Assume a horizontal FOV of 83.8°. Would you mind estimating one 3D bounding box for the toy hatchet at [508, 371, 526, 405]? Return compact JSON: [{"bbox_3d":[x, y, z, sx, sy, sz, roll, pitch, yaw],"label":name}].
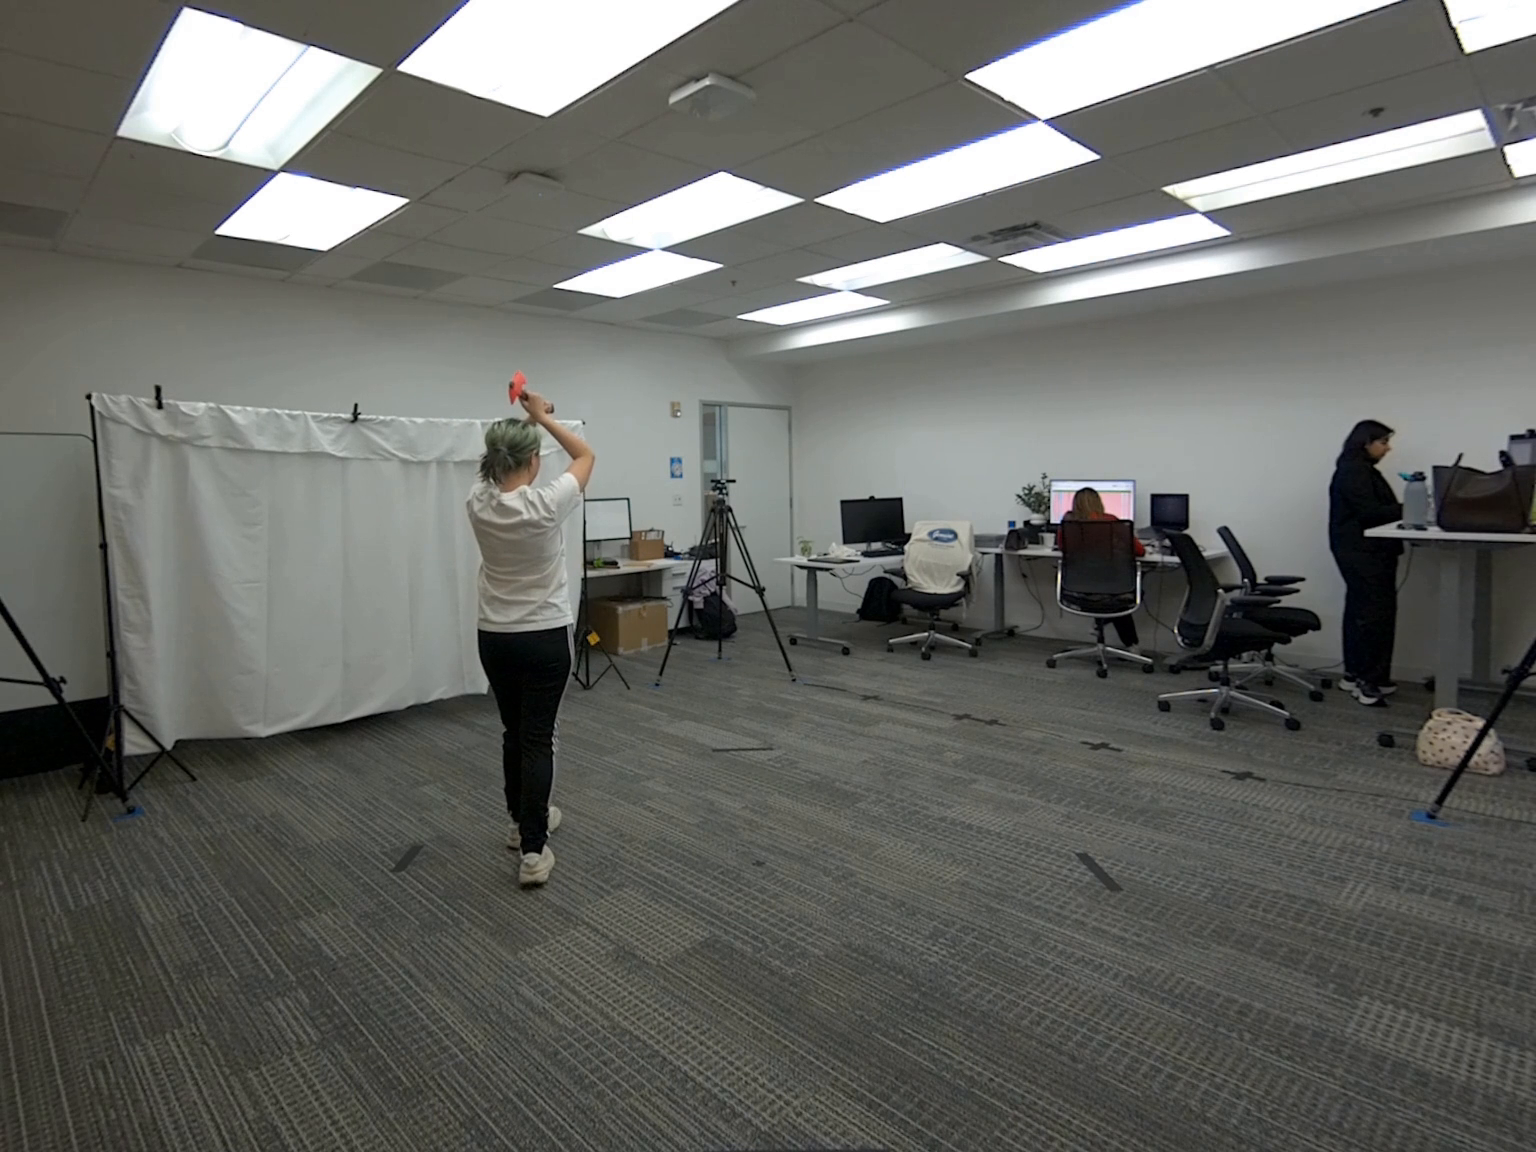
[{"bbox_3d":[-0.896,-0.691,3.227,0.030,0.131,0.265,-3,0,18],"label":"toy hatchet"}]
